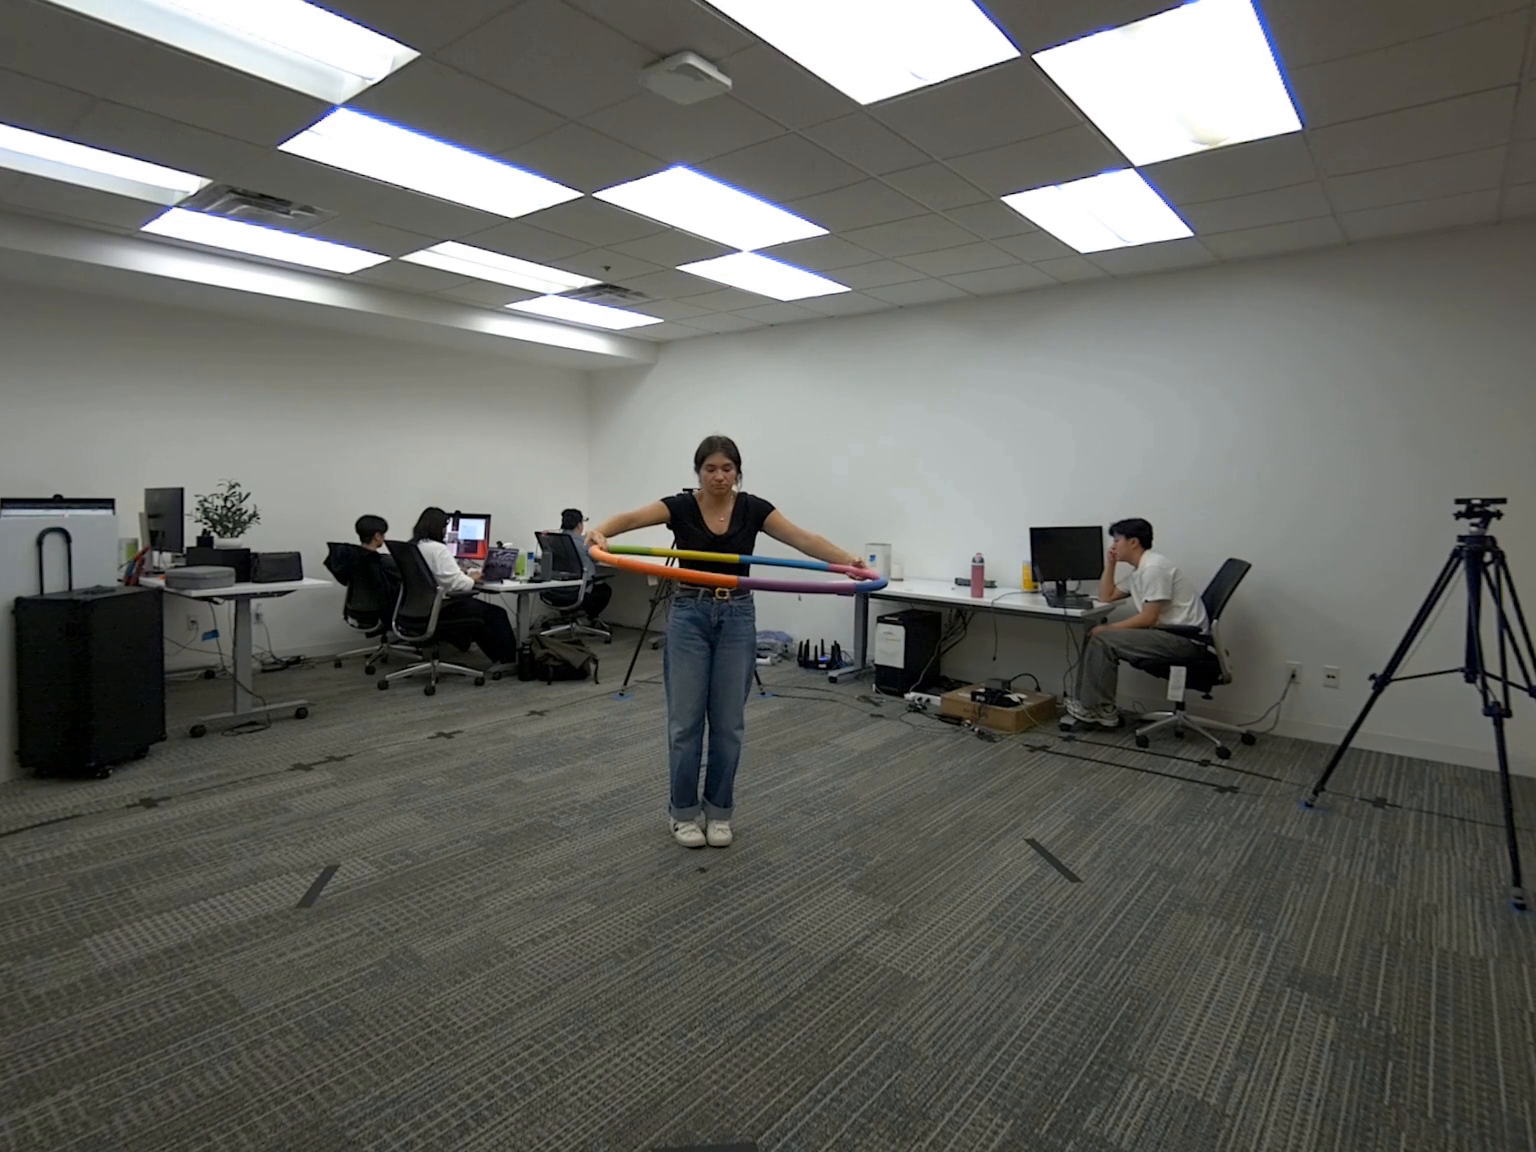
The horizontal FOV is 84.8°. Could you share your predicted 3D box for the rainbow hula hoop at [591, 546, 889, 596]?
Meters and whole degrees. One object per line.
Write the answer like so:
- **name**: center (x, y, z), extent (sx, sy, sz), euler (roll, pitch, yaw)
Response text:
- **rainbow hula hoop**: center (-0.104, -0.060, 2.844), extent (0.977, 0.035, 0.988), euler (5, 10, -3)
